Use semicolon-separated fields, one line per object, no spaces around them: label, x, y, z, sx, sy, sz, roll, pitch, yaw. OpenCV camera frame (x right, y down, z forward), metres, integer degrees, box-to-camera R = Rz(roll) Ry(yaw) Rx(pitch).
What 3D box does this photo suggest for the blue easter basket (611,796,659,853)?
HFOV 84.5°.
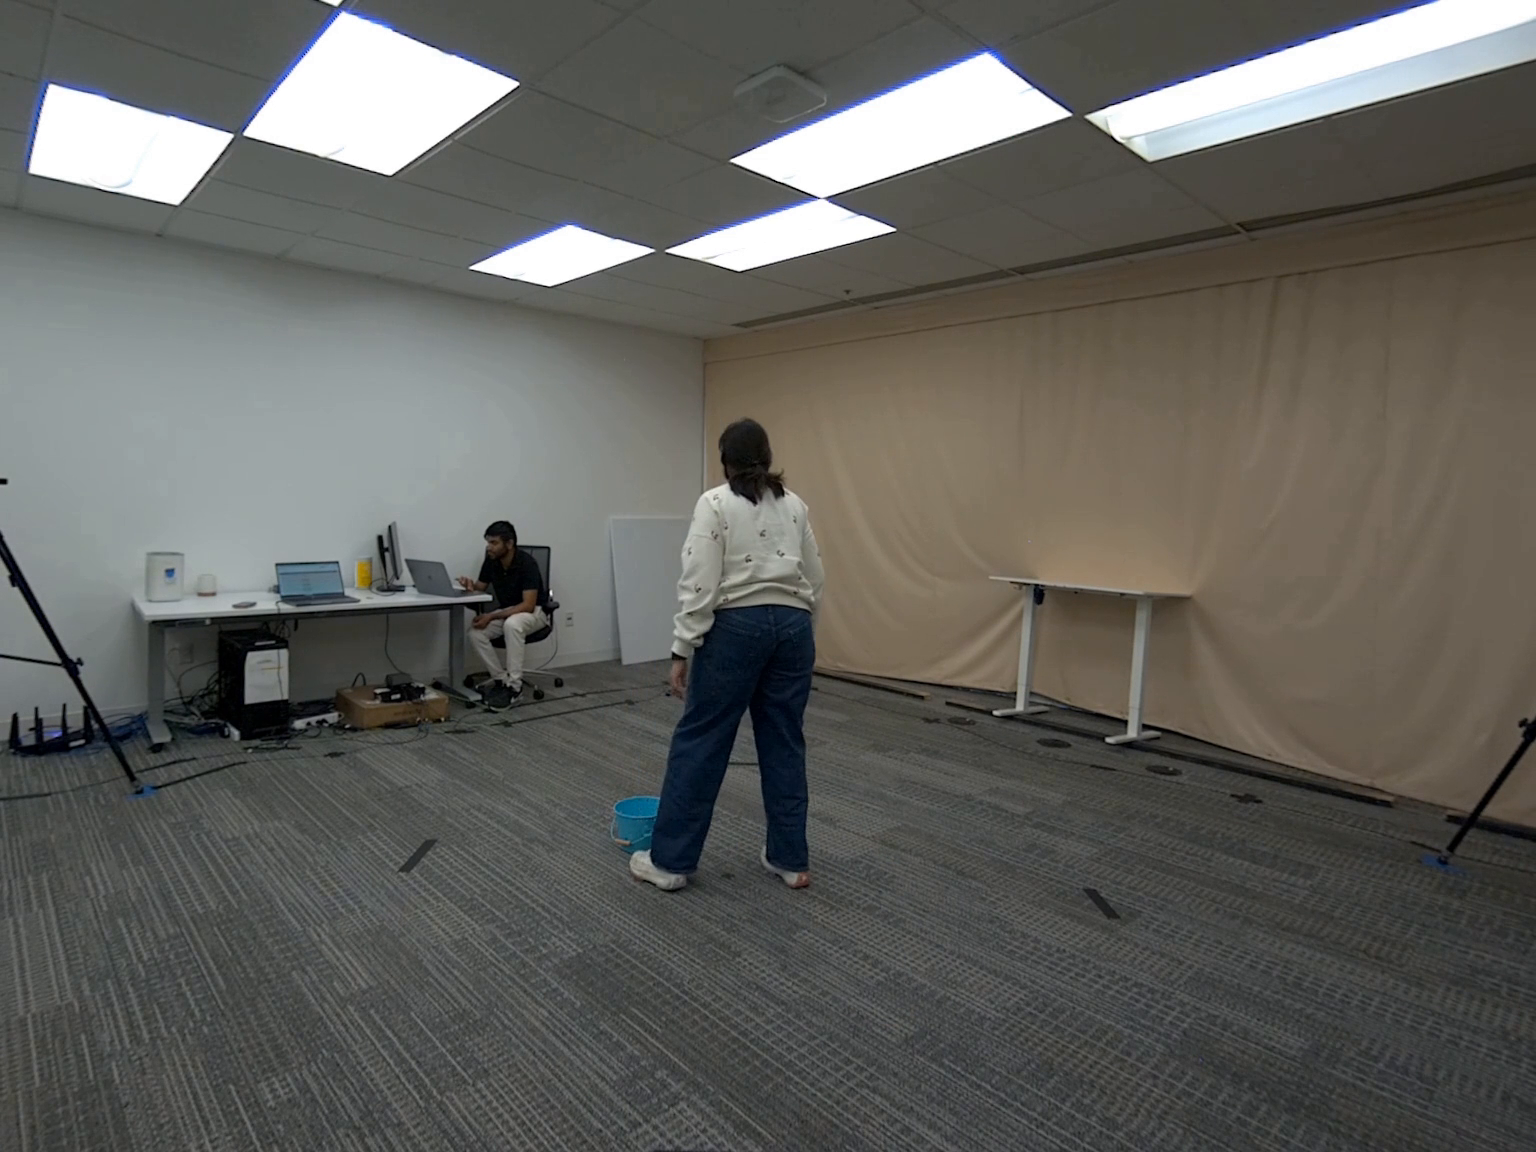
blue easter basket;-0.516;0.994;3.367;0.243;0.155;0.244;2;5;-1
